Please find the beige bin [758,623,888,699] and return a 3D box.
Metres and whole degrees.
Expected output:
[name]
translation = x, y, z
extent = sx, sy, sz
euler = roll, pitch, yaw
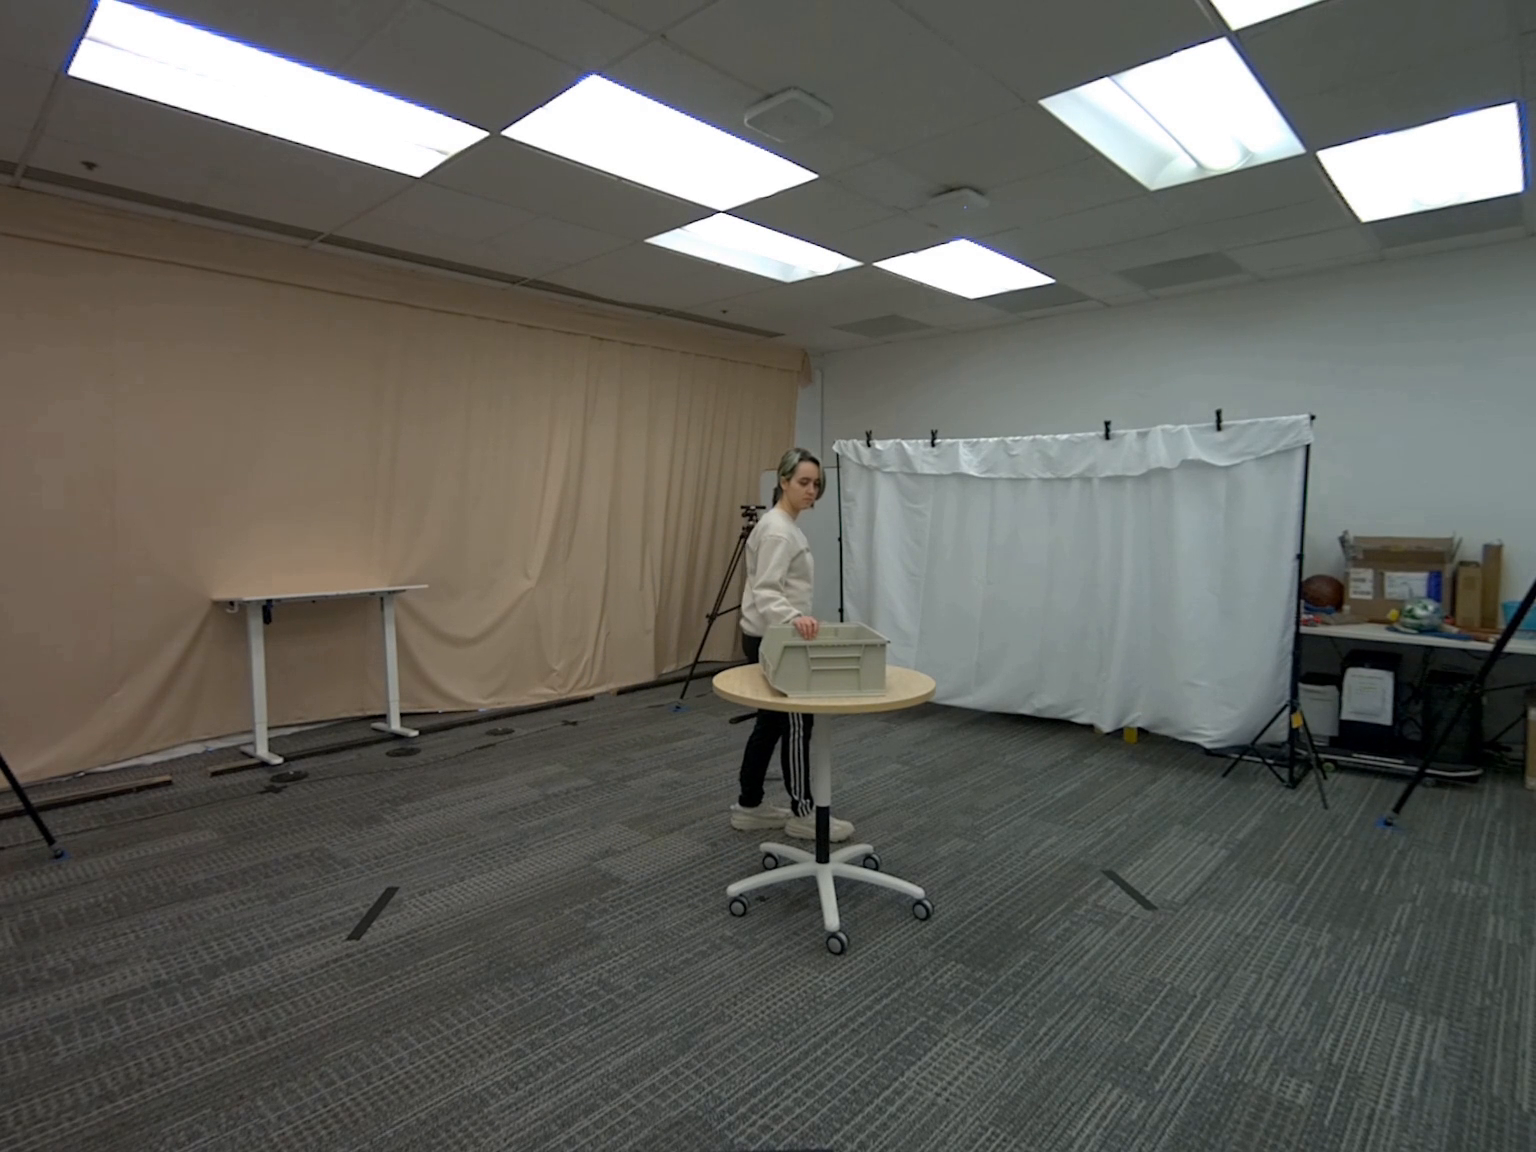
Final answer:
[beige bin]
translation = 0.176, 0.279, 2.853
extent = 0.376, 0.188, 0.424
euler = 0, 4, -3
